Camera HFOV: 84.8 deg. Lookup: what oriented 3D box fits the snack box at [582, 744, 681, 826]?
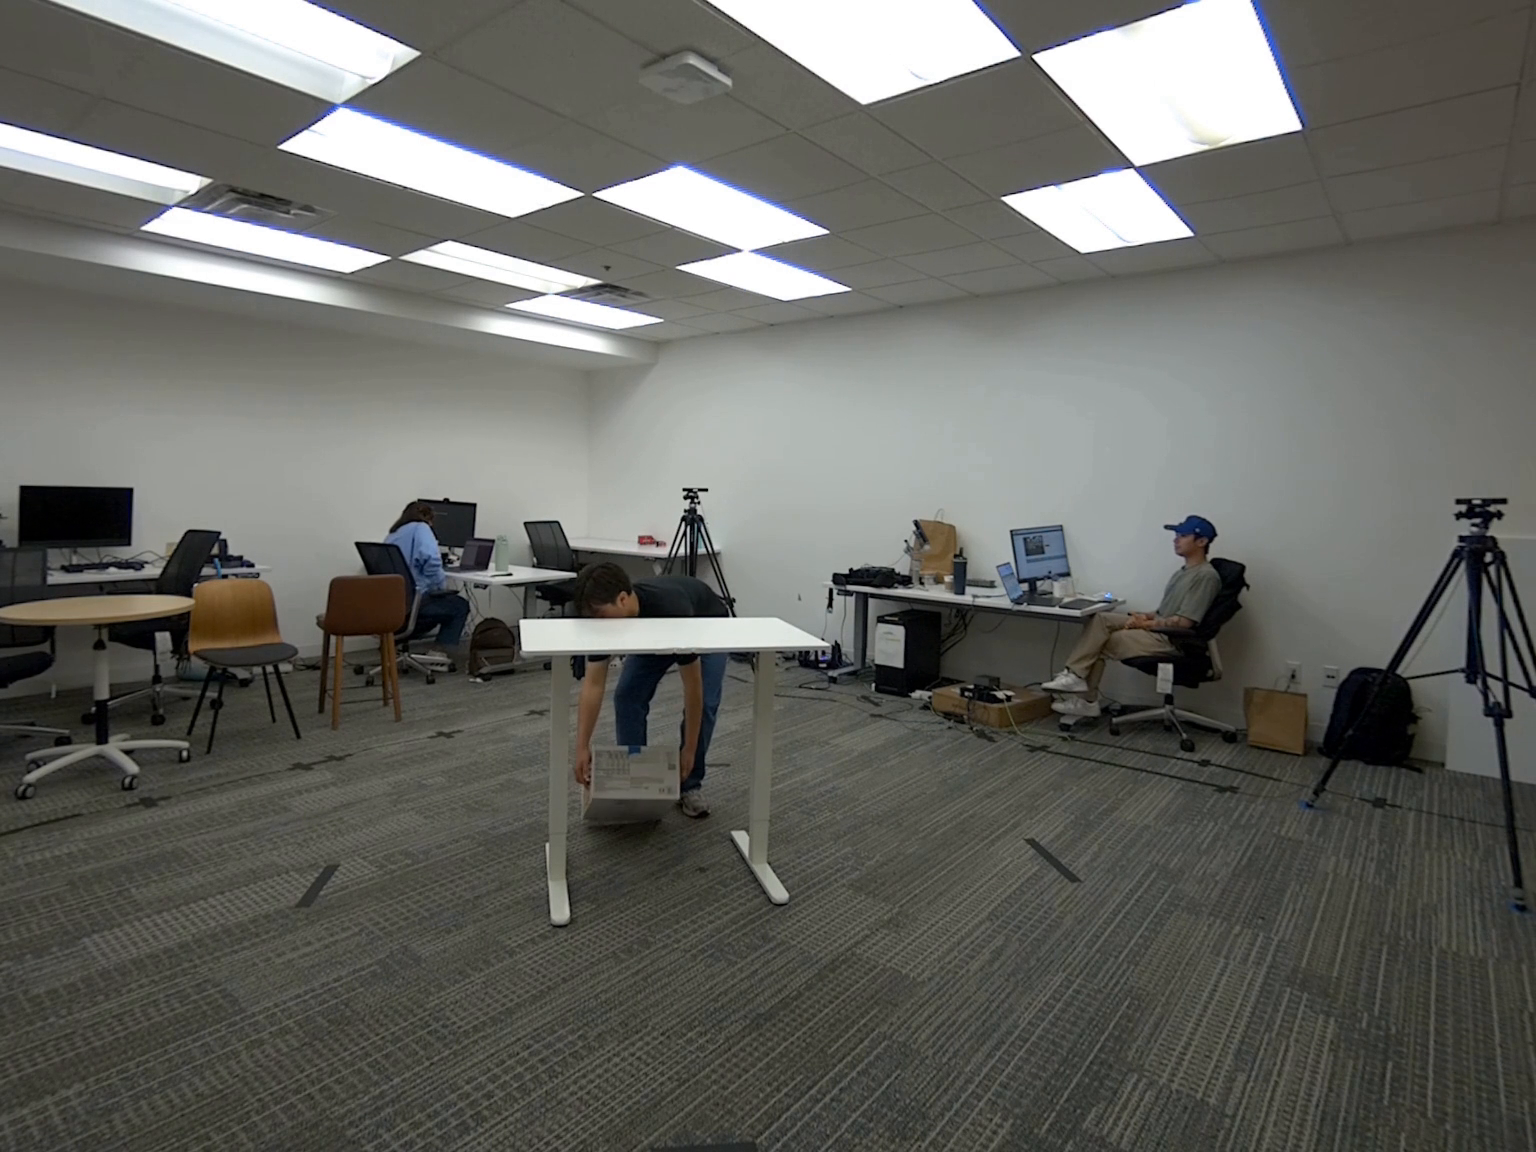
[{"bbox_3d":[-0.568,0.836,3.409,0.335,0.211,0.401,4,-27,-15],"label":"snack box"}]
